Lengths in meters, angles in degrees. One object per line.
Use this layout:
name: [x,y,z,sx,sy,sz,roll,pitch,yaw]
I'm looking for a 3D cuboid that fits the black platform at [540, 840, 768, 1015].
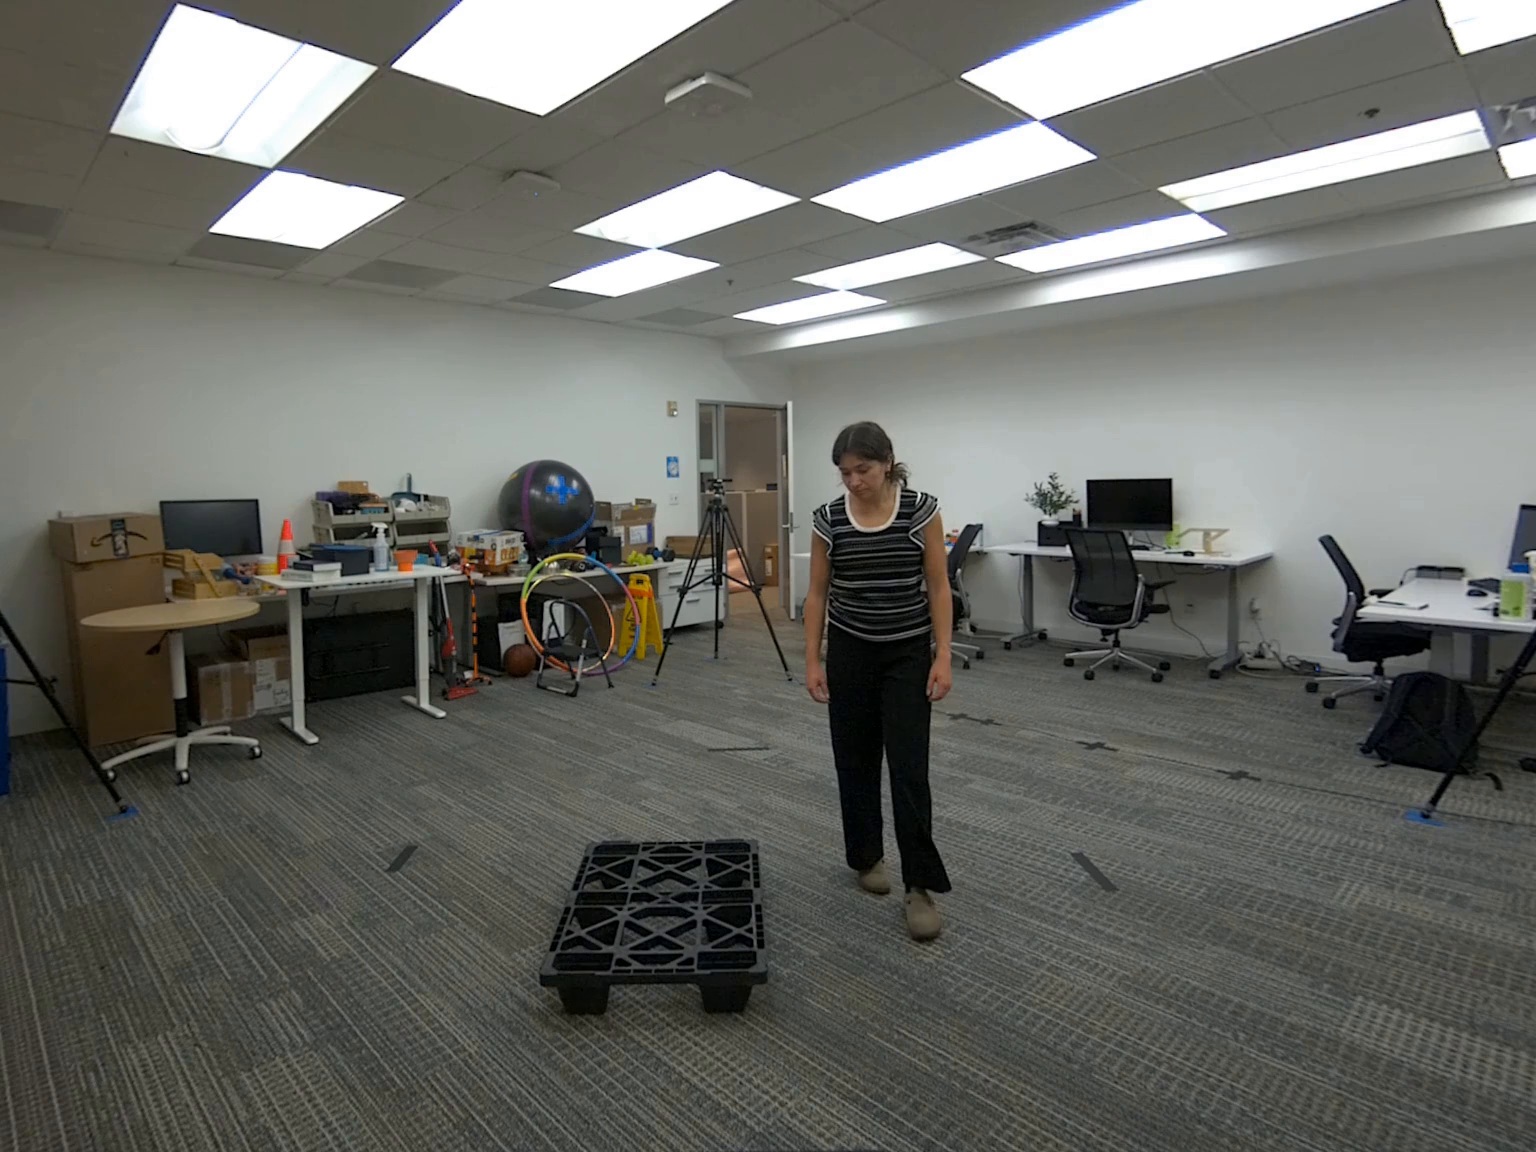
black platform: [-0.312,1.041,2.600,0.605,0.142,0.810,-2,7,-1]
